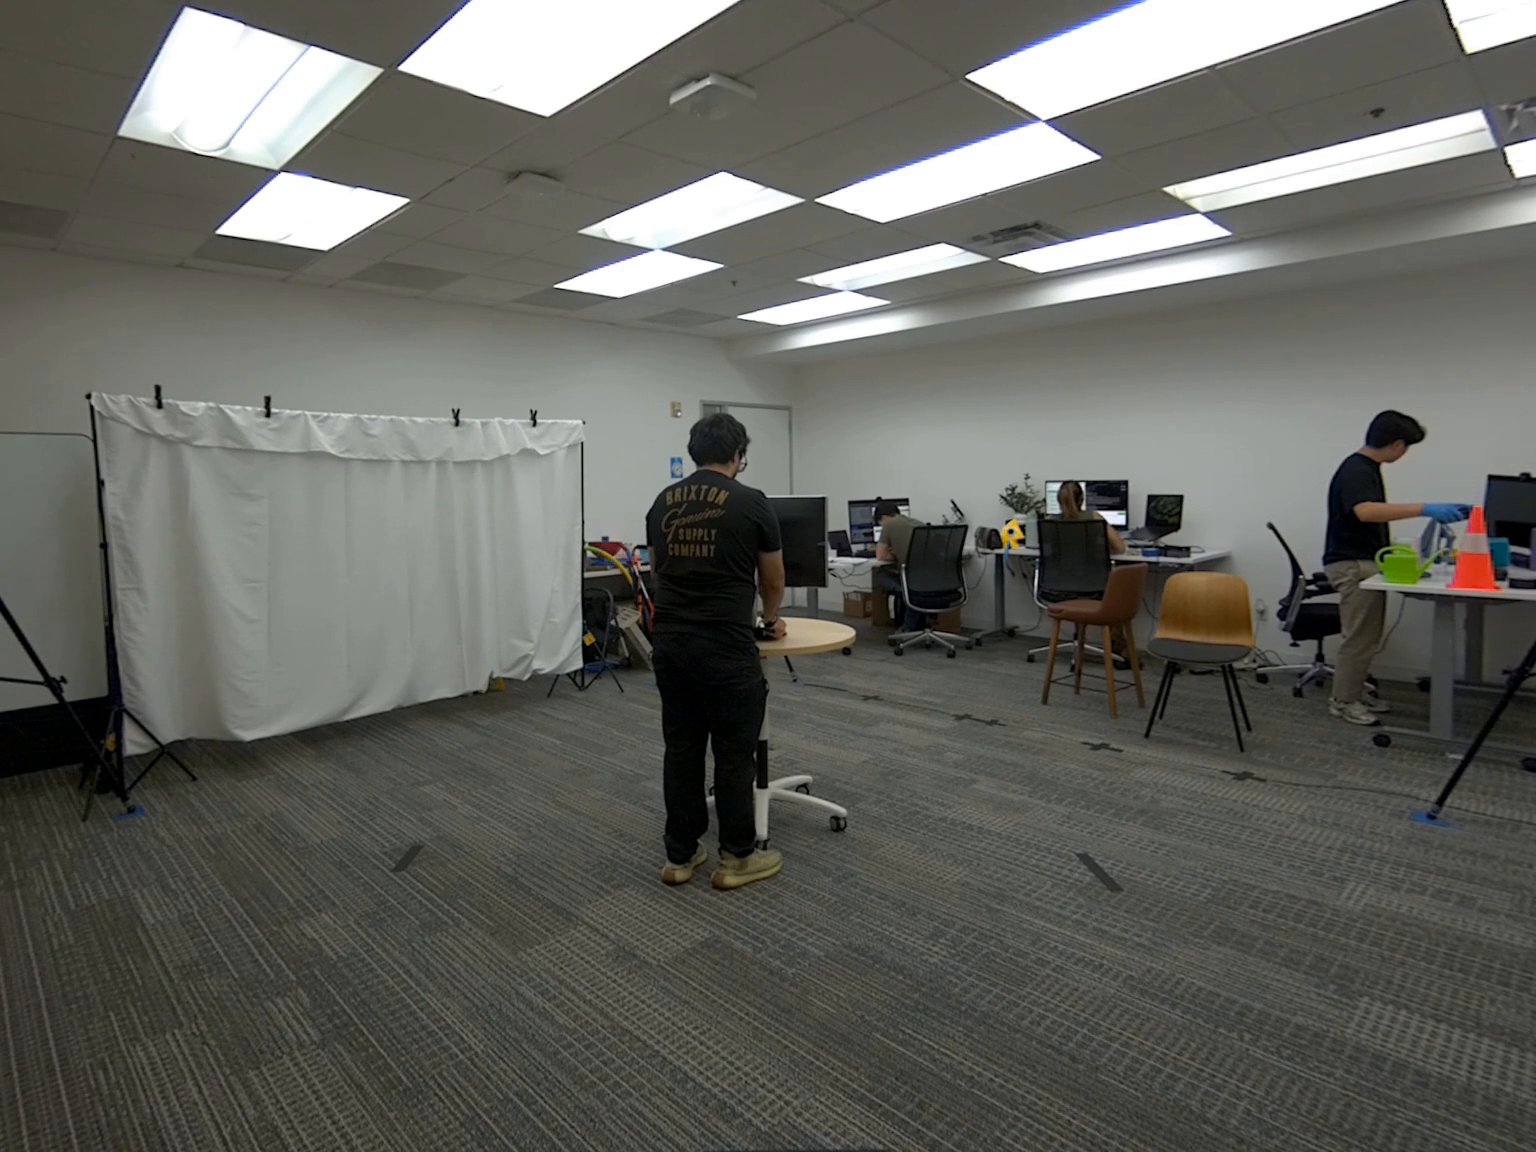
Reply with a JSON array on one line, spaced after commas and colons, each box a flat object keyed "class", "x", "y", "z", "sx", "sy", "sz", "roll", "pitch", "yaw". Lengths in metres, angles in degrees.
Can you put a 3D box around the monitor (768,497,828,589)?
[{"class": "monitor", "x": -0.054, "y": -0.048, "z": 3.356, "sx": 0.576, "sy": 0.555, "sz": 0.206, "roll": 1, "pitch": -3, "yaw": 20}]
